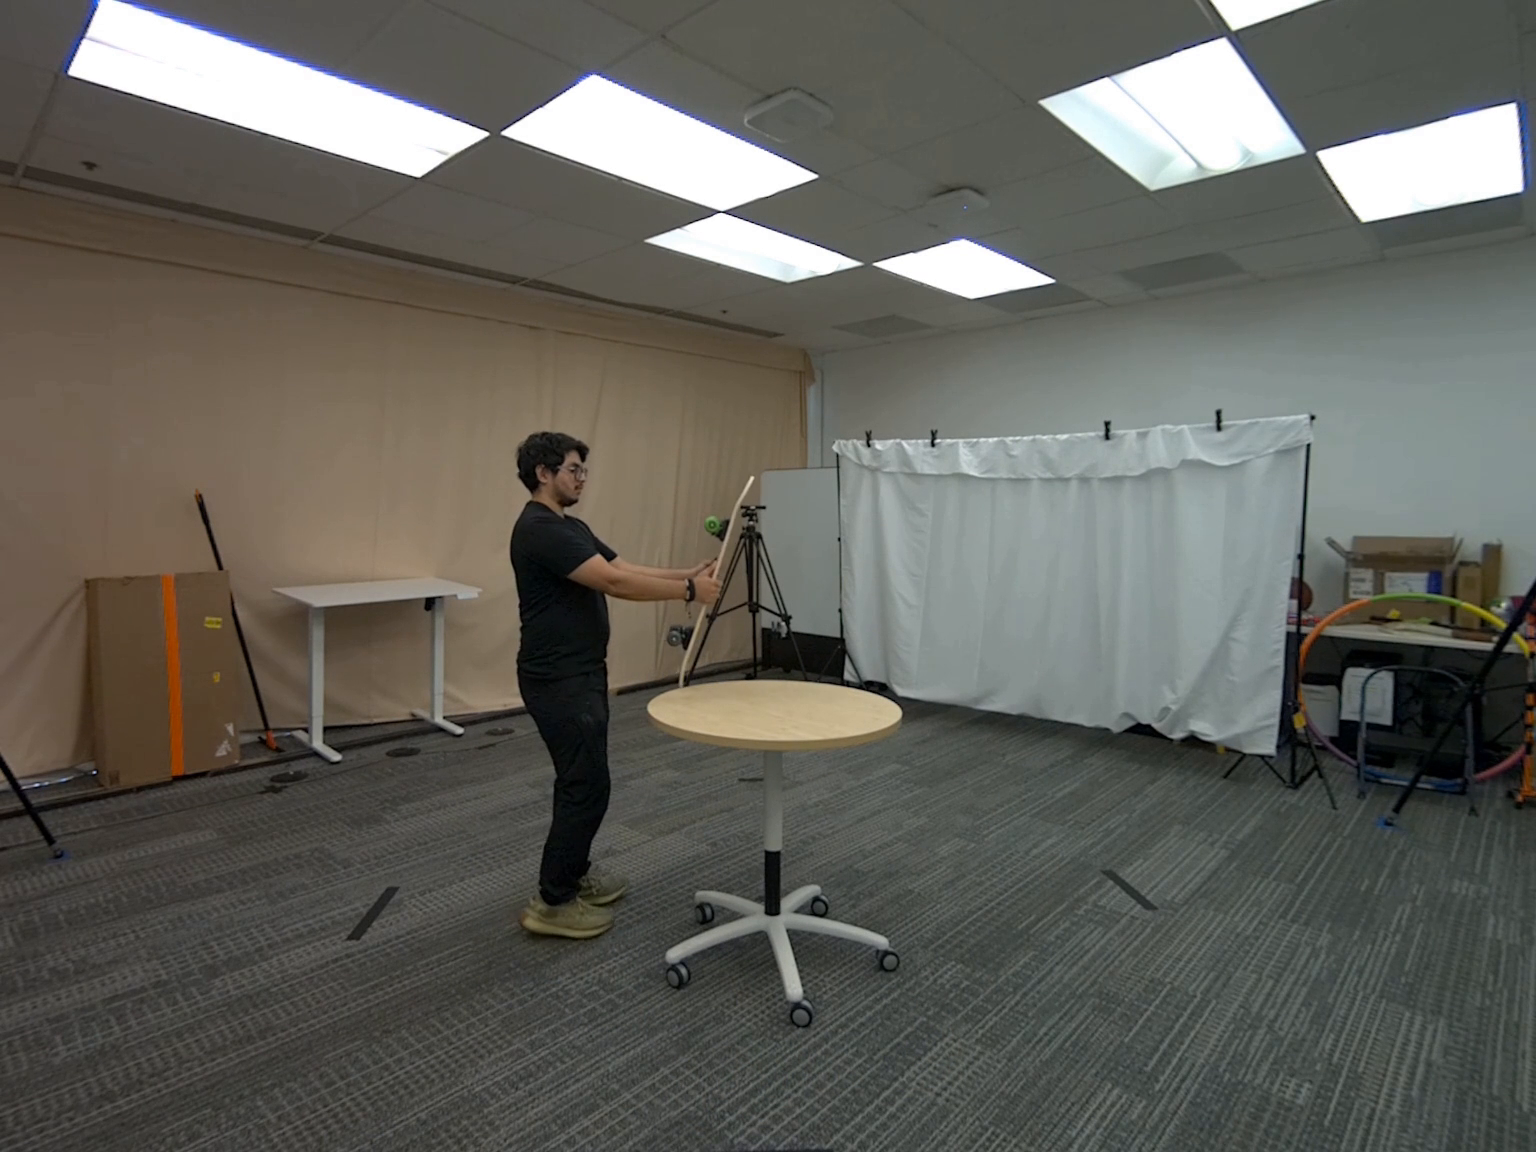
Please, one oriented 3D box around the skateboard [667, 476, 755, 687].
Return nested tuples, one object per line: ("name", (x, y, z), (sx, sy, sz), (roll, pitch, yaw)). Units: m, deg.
("skateboard", (-0.220, 0.023, 2.854), (0.109, 0.785, 0.195), (18, 2, -7))
